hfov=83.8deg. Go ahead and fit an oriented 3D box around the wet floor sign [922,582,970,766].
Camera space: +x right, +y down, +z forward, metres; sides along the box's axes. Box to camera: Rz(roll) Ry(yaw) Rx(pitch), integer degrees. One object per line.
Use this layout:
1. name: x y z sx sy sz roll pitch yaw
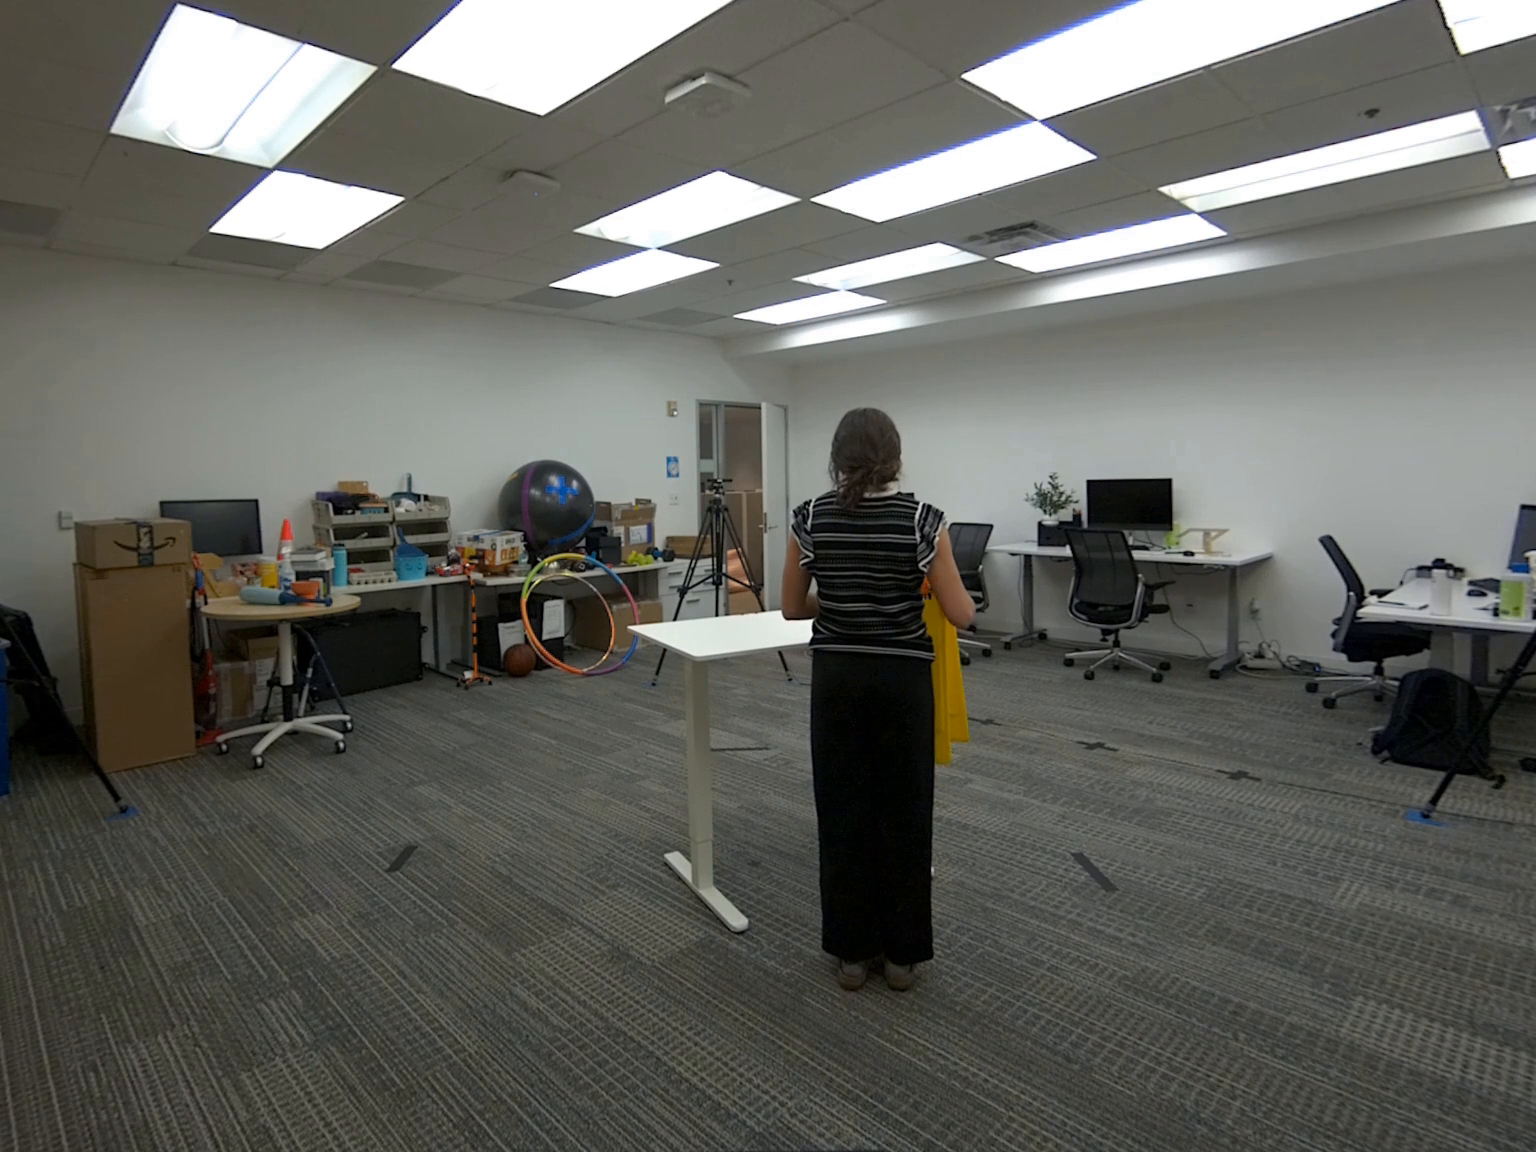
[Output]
1. wet floor sign: 0.449 0.198 2.580 0.289 0.645 0.283 -1 2 27
